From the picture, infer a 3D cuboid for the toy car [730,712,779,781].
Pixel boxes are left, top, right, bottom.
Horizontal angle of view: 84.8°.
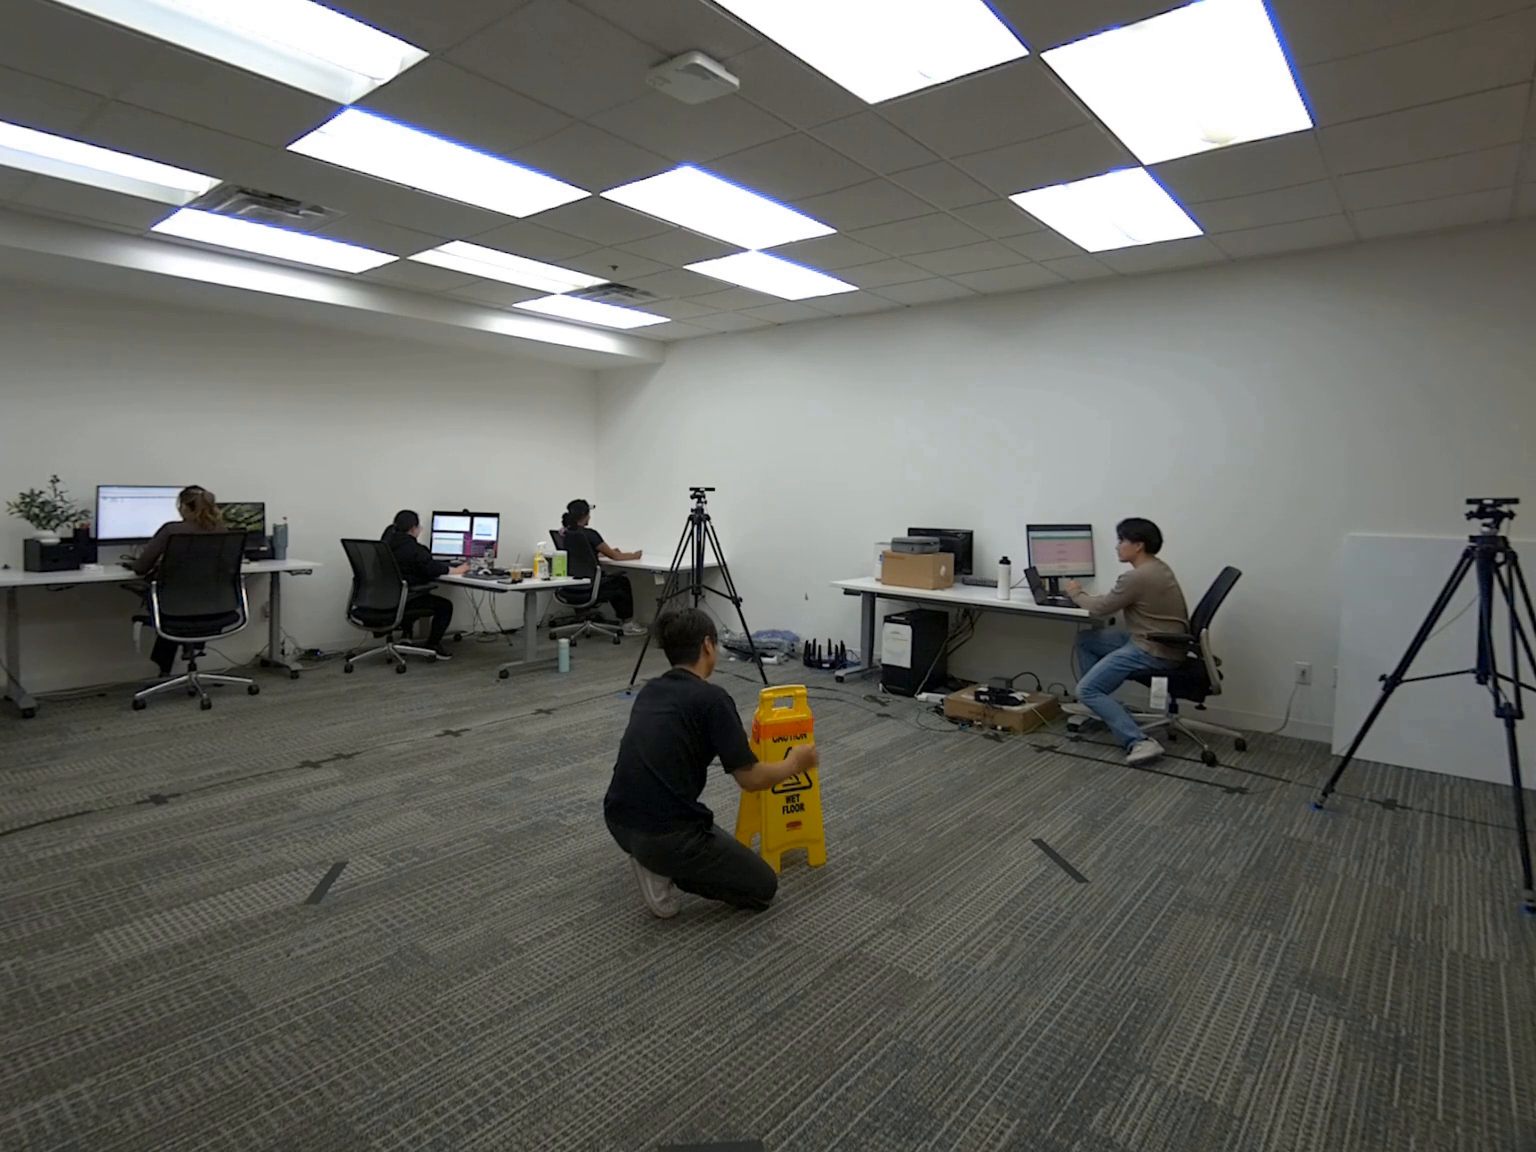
[{"bbox_3d":[-0.056,0.684,3.327,0.086,0.252,0.126,22,18,37],"label":"toy car"}]
